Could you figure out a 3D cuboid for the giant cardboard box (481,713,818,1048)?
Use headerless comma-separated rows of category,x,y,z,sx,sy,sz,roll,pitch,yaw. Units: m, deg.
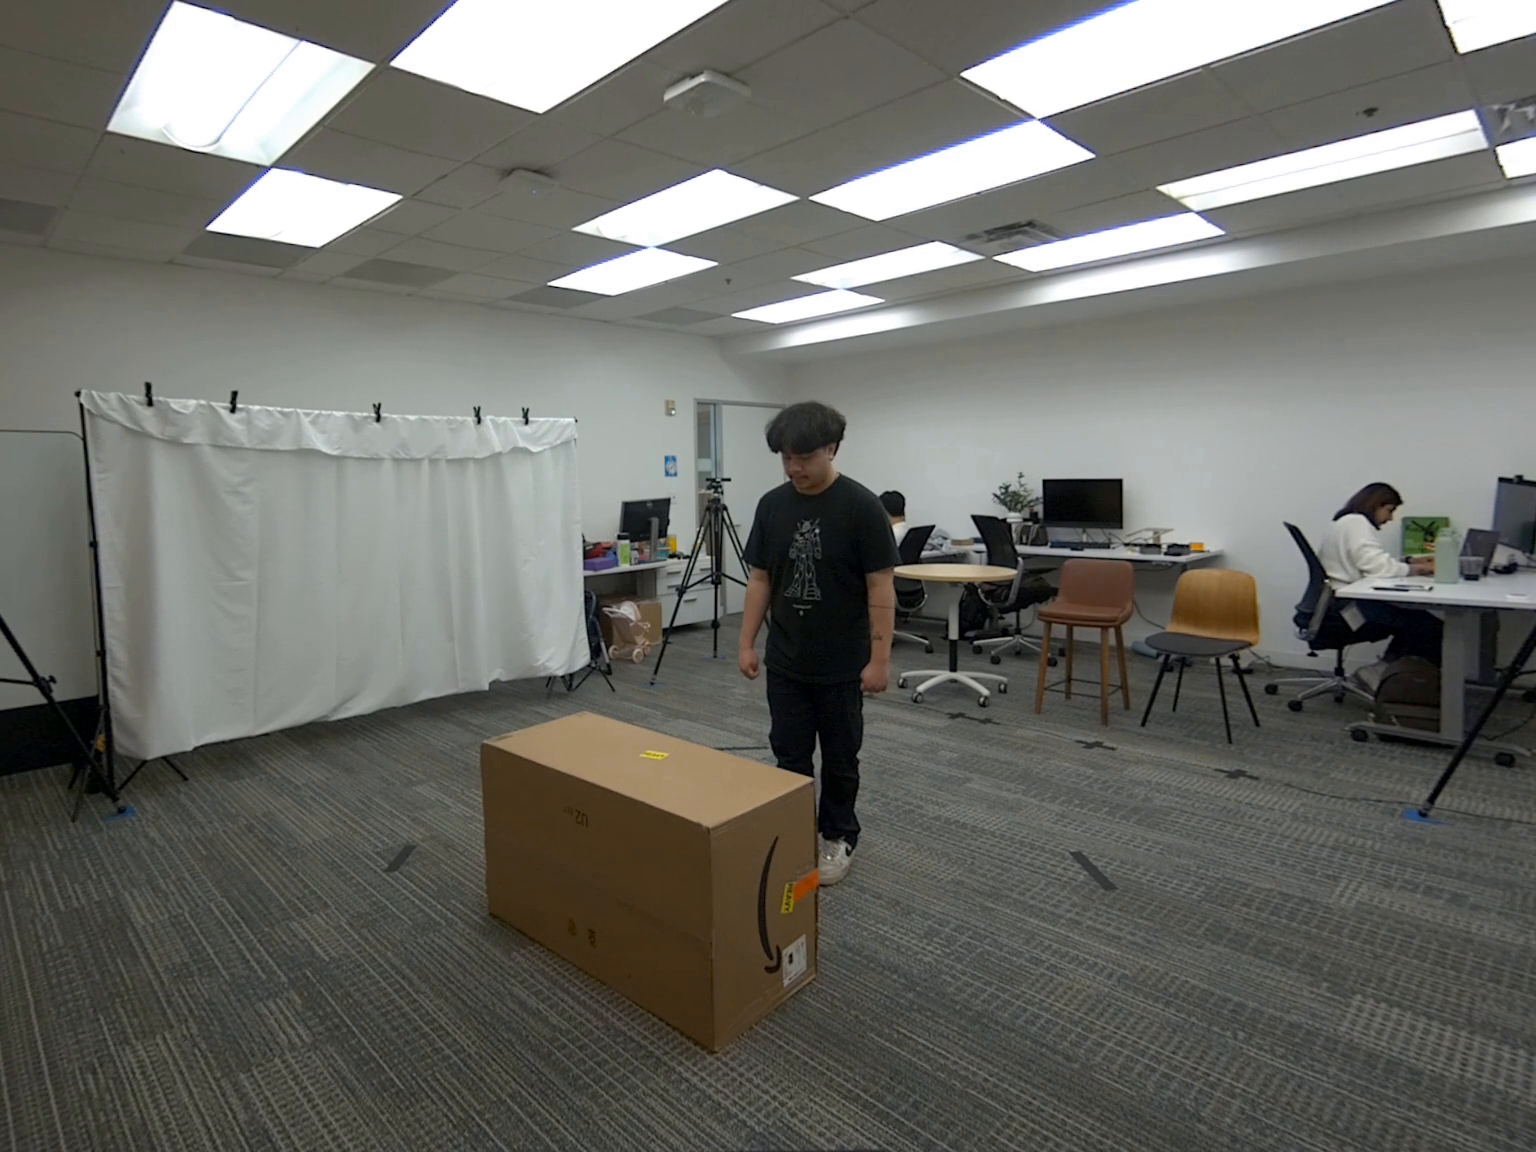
giant cardboard box,-0.389,0.827,2.561,1.059,0.581,0.435,5,7,41
